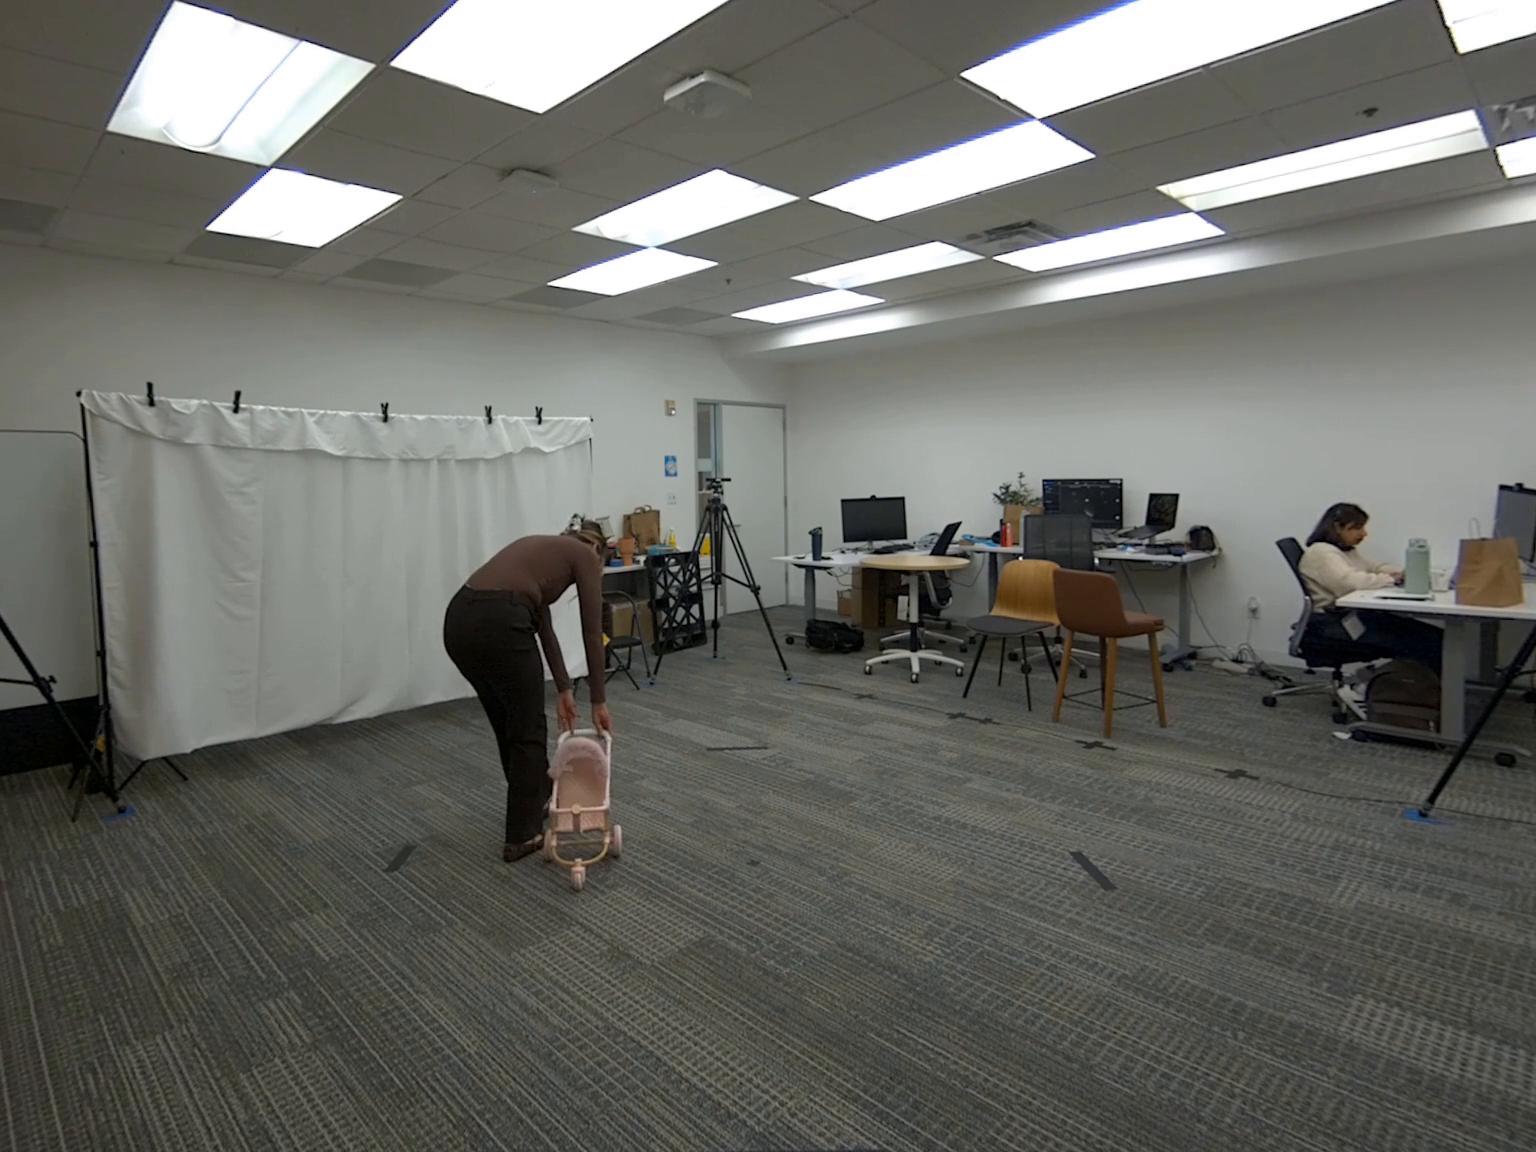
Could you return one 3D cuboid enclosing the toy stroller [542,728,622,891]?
[{"bbox_3d":[-0.677,0.825,3.102,0.281,0.541,0.338,-2,-12,-2],"label":"toy stroller"}]
